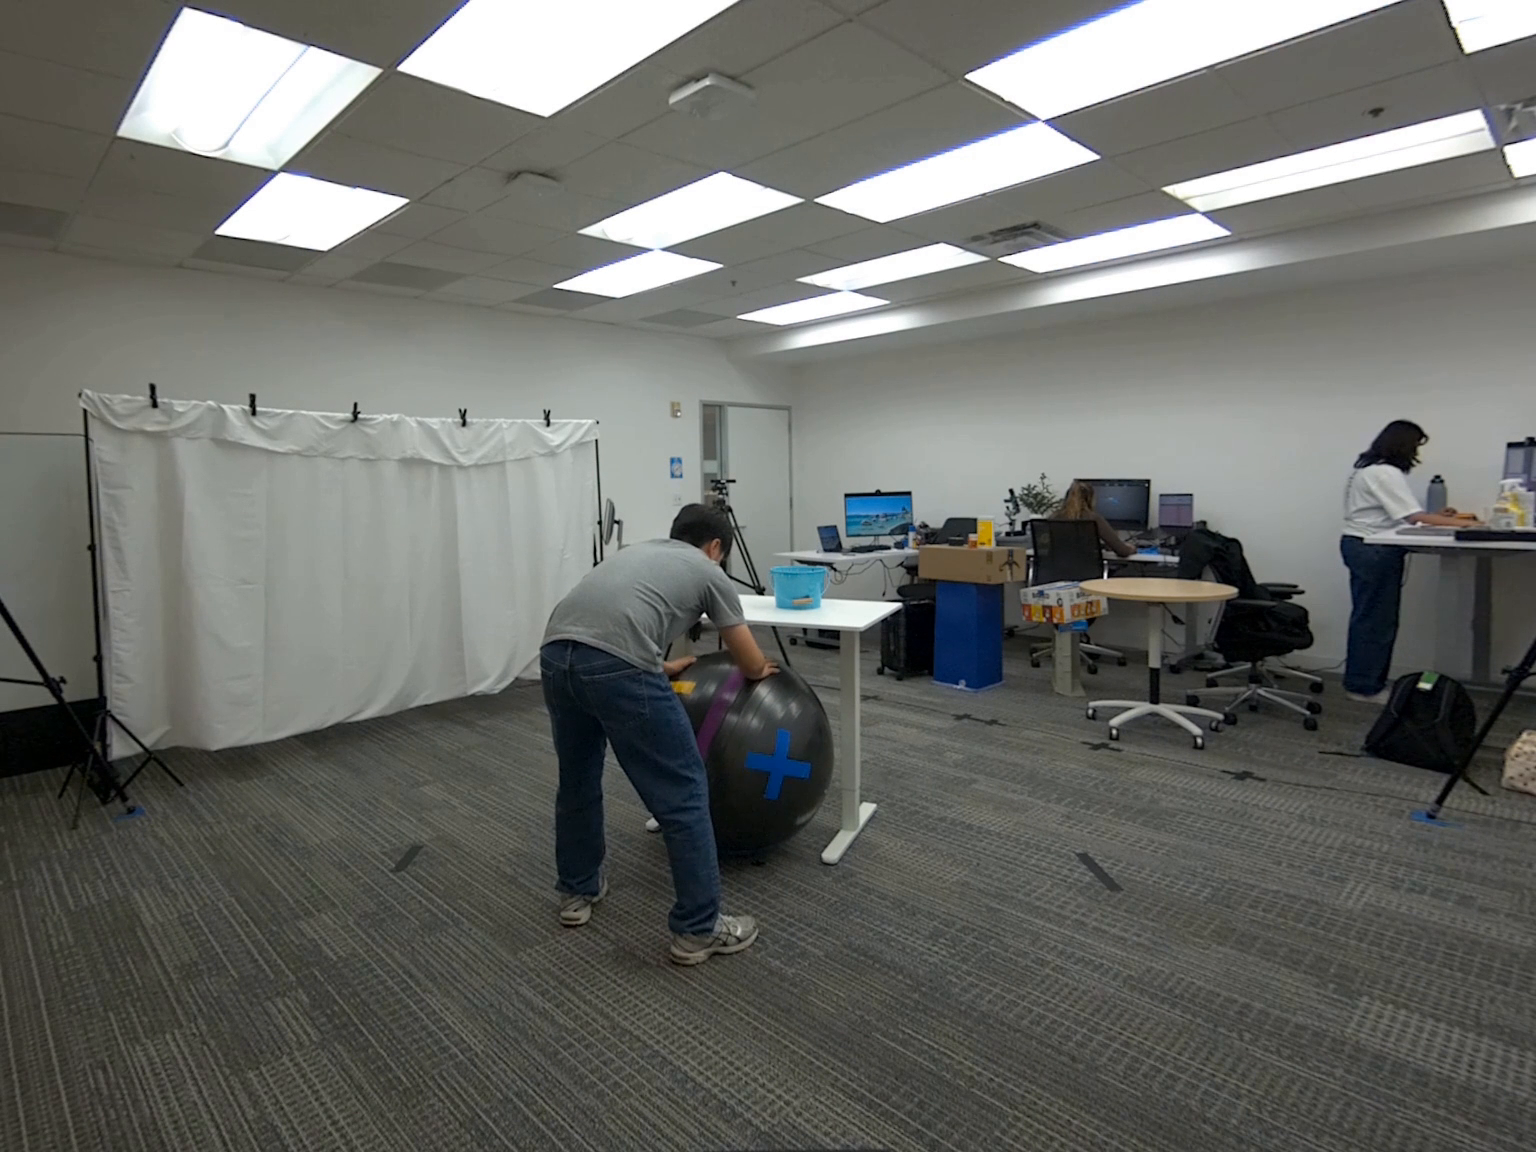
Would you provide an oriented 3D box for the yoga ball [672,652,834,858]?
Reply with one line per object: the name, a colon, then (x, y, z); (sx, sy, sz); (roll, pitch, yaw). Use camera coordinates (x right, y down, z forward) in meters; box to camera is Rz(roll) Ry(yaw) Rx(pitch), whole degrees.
yoga ball: (-0.138, 0.667, 3.242); (0.757, 0.755, 0.762); (-1, 5, -2)
